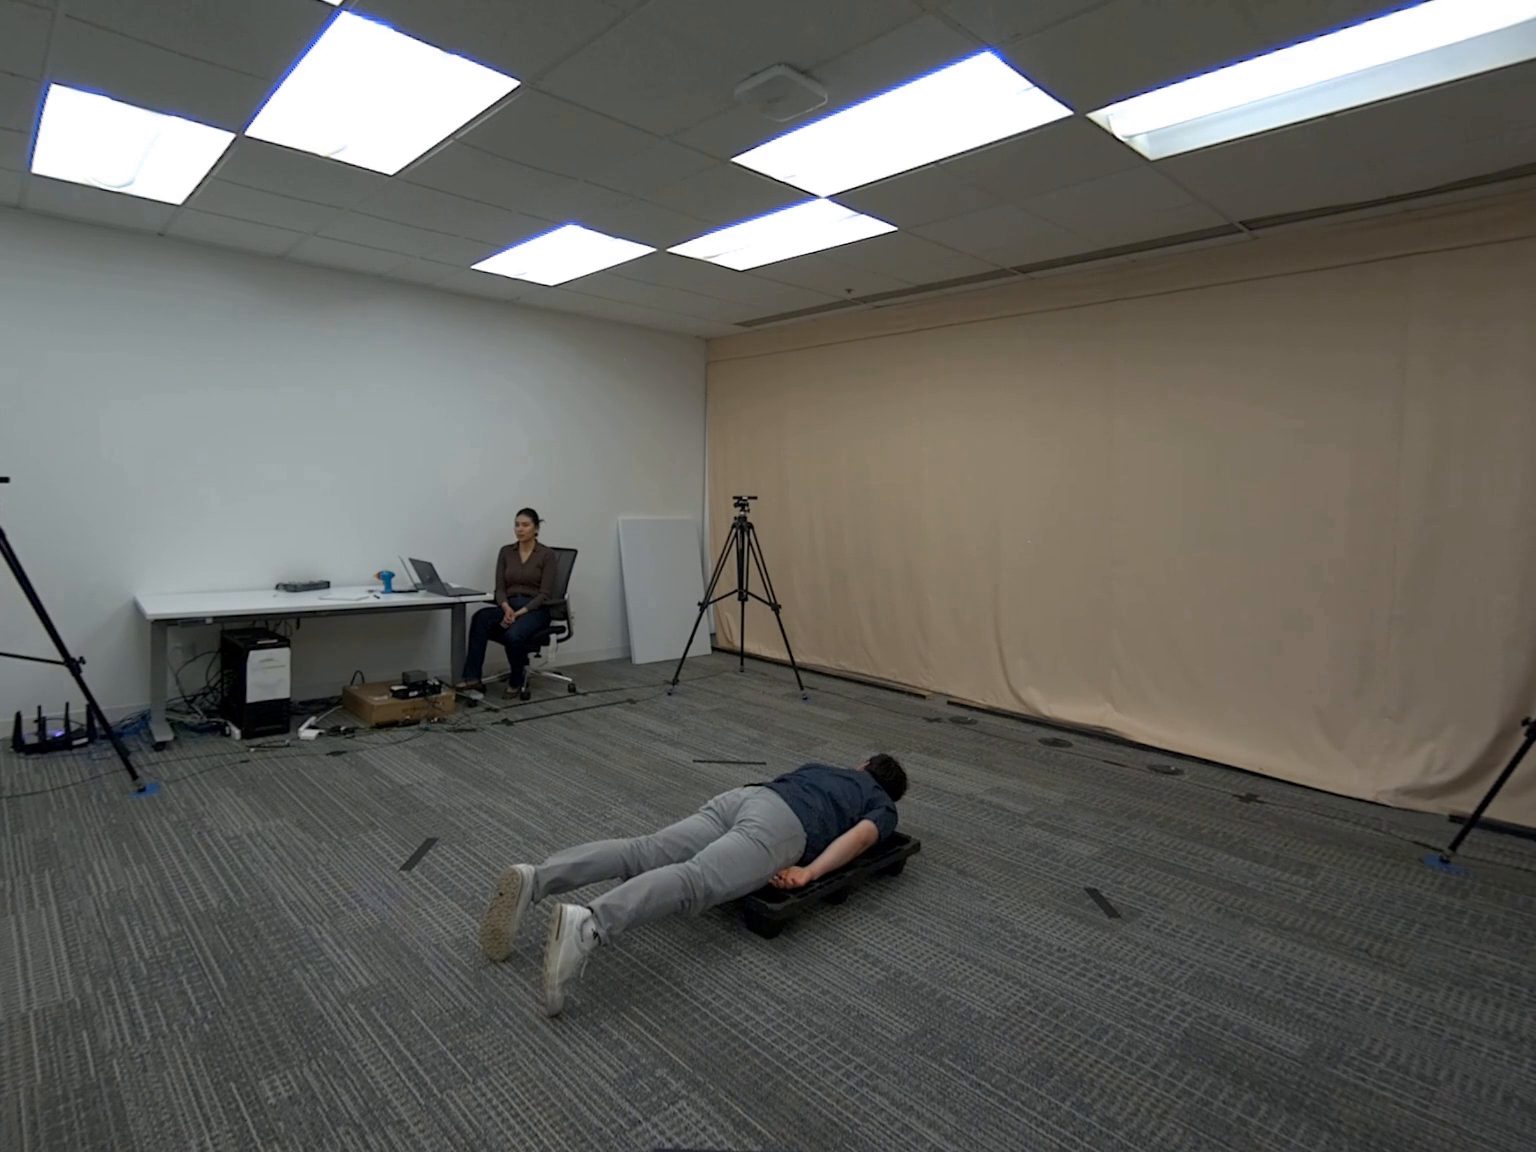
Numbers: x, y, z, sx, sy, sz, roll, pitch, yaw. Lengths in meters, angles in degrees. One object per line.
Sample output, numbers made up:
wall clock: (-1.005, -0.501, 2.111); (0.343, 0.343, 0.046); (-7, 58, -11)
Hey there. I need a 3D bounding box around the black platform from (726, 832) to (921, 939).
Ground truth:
black platform: (0.080, 1.051, 3.057); (0.620, 0.143, 0.787); (6, 7, 43)
